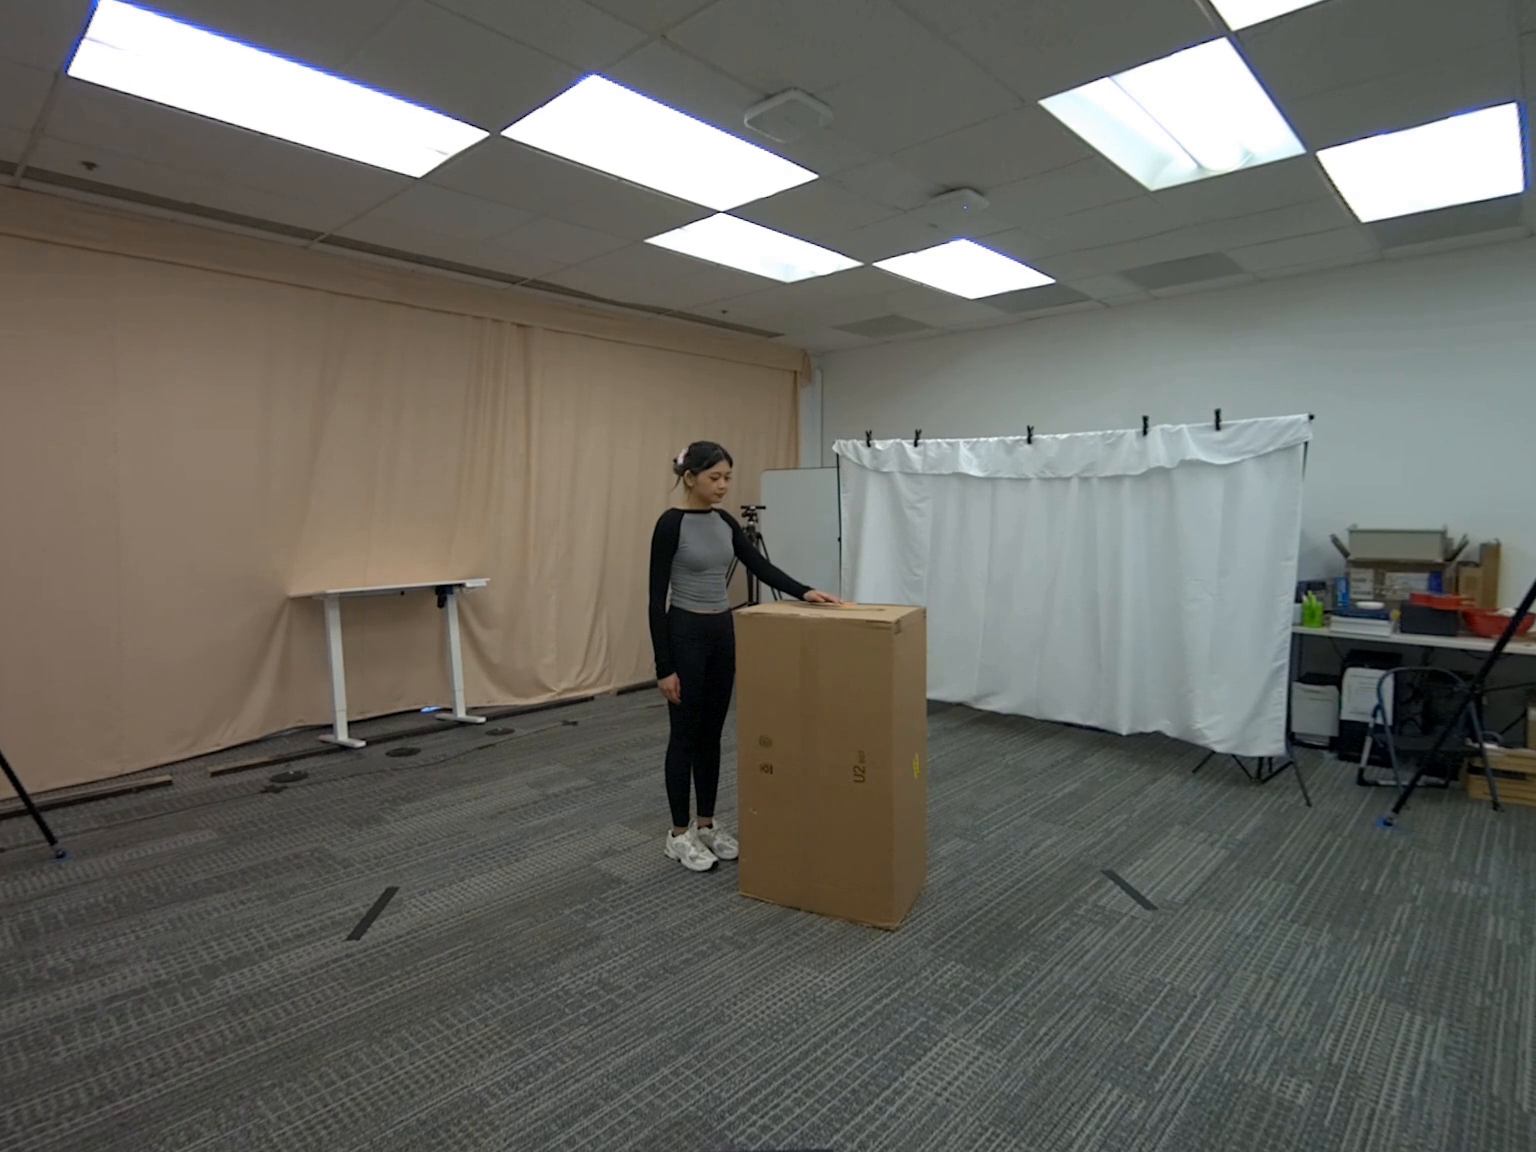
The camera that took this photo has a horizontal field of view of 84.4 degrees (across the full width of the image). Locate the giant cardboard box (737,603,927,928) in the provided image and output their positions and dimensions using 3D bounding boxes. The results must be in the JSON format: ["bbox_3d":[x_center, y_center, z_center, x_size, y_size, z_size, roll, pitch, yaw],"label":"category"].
[{"bbox_3d":[0.244,0.632,3.040,0.599,1.025,0.436,1,4,26],"label":"giant cardboard box"}]
